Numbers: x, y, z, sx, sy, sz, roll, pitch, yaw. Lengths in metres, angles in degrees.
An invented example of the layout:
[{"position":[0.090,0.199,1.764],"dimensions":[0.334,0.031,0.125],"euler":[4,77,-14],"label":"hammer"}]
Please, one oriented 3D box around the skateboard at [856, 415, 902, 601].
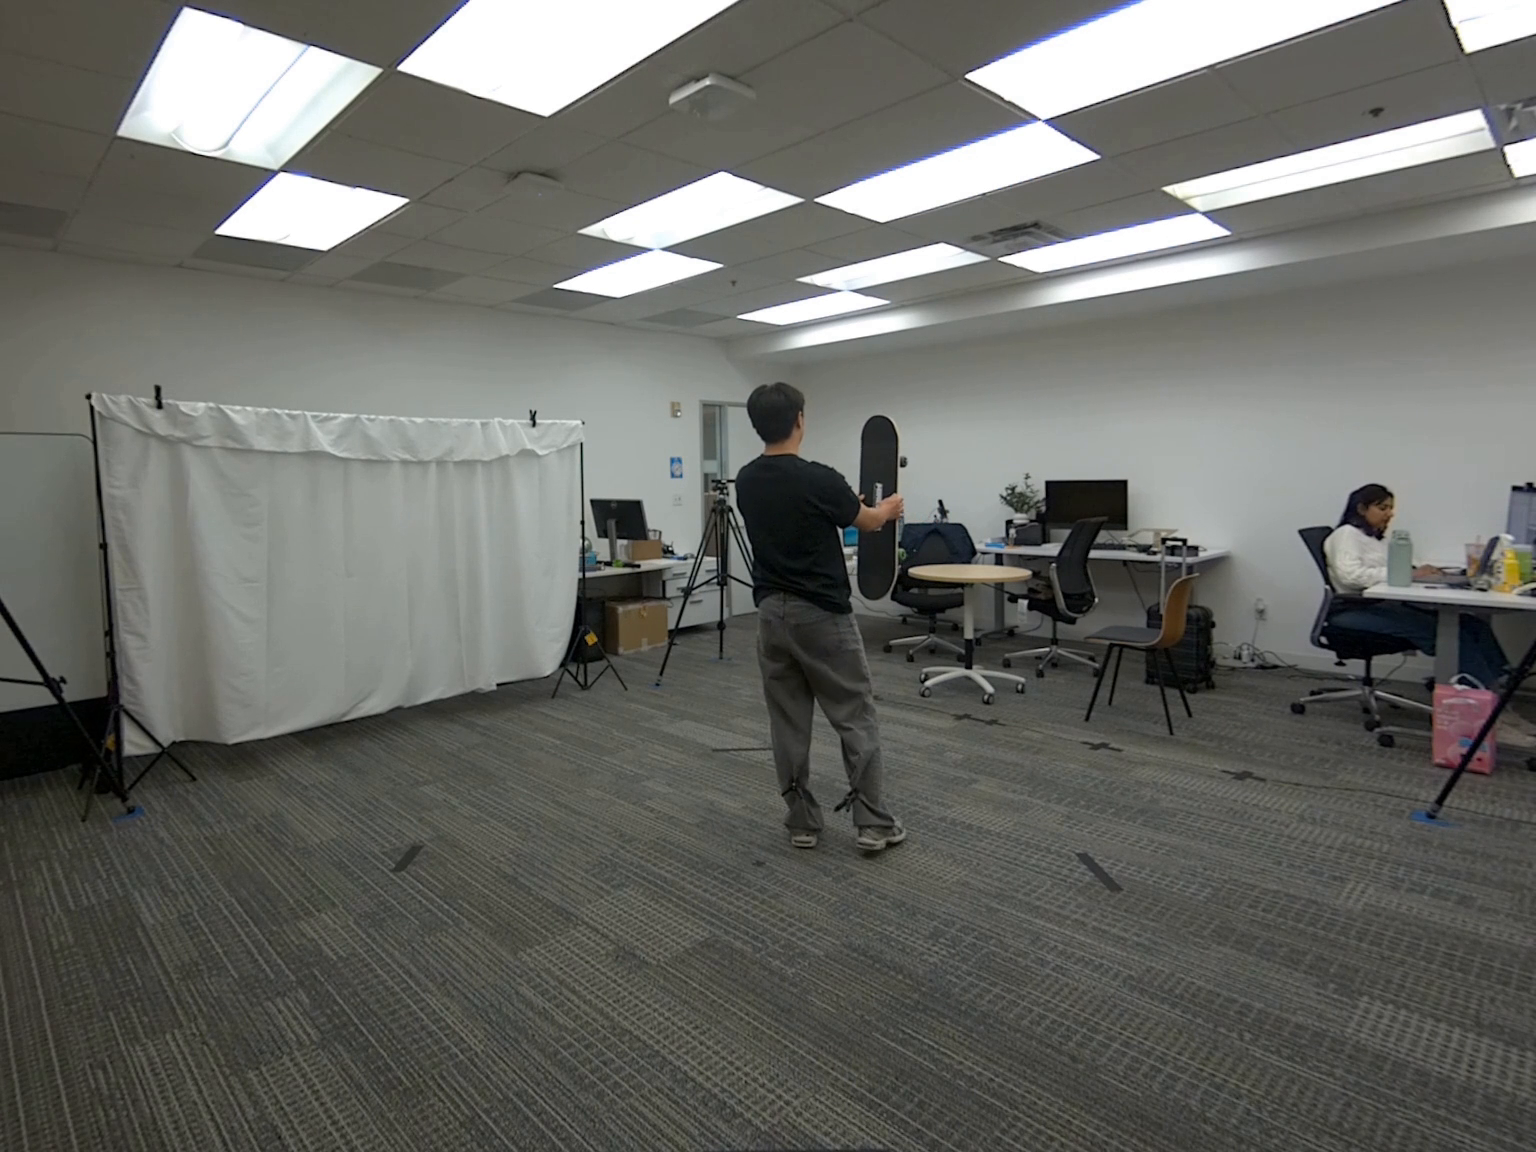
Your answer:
[{"position":[0.484,-0.285,3.636],"dimensions":[0.199,0.789,0.107],"euler":[-3,-7,42],"label":"skateboard"}]
